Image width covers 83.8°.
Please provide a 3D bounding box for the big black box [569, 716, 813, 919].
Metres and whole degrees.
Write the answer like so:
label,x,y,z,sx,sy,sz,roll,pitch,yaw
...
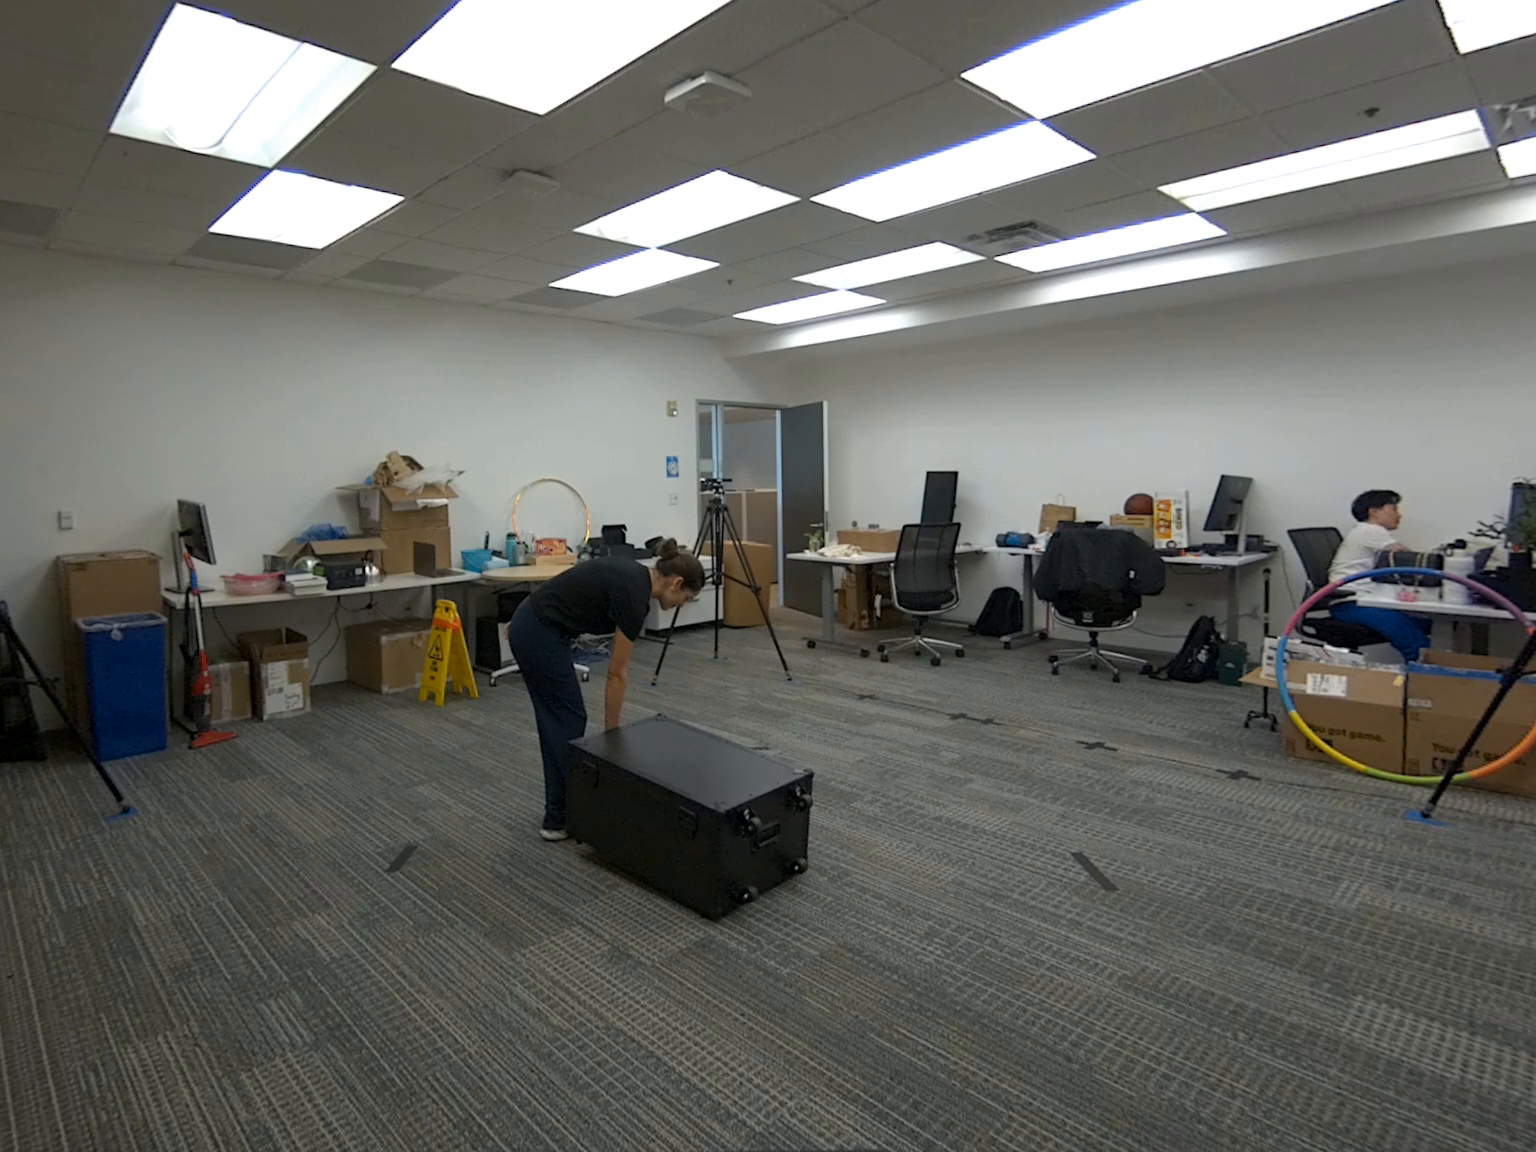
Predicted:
label,x,y,z,sx,sy,sz,roll,pitch,yaw
big black box,-0.281,0.837,3.080,0.890,0.394,0.508,9,11,40
